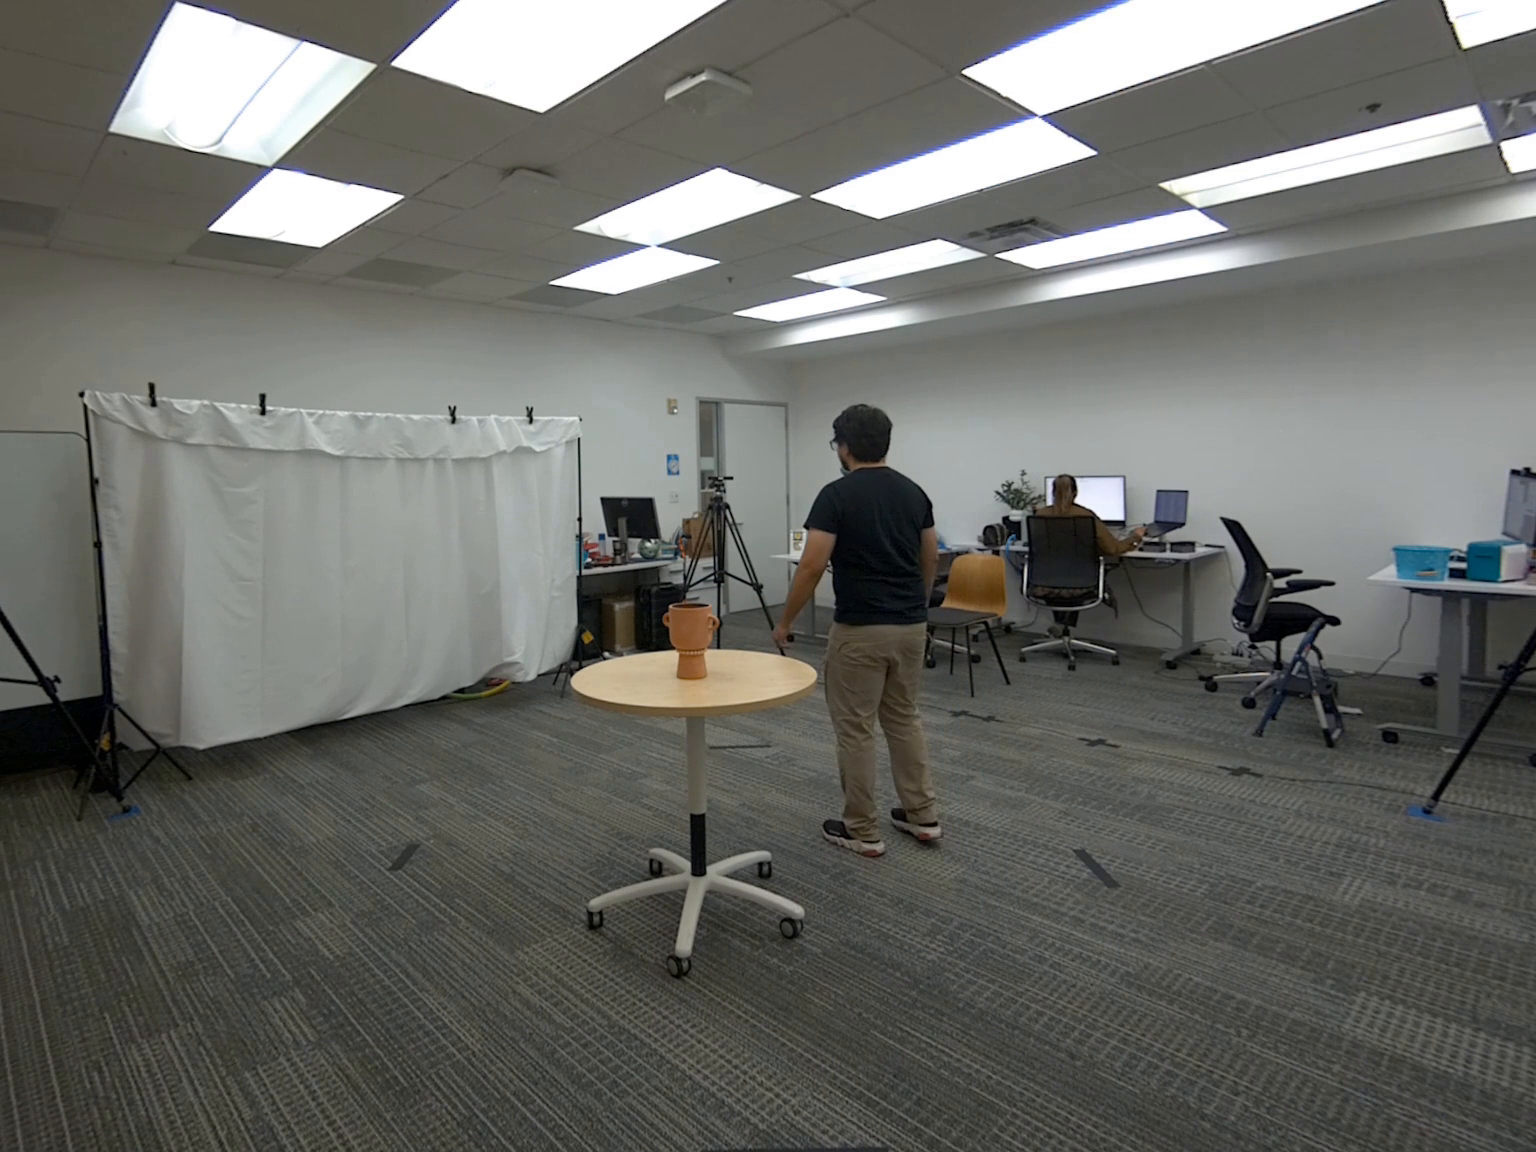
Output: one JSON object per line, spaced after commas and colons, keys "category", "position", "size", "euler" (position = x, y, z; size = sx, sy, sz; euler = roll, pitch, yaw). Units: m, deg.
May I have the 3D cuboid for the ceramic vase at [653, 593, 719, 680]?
{"category": "ceramic vase", "position": [-0.236, 0.200, 2.645], "size": [0.132, 0.219, 0.163], "euler": [-3, 4, -26]}
